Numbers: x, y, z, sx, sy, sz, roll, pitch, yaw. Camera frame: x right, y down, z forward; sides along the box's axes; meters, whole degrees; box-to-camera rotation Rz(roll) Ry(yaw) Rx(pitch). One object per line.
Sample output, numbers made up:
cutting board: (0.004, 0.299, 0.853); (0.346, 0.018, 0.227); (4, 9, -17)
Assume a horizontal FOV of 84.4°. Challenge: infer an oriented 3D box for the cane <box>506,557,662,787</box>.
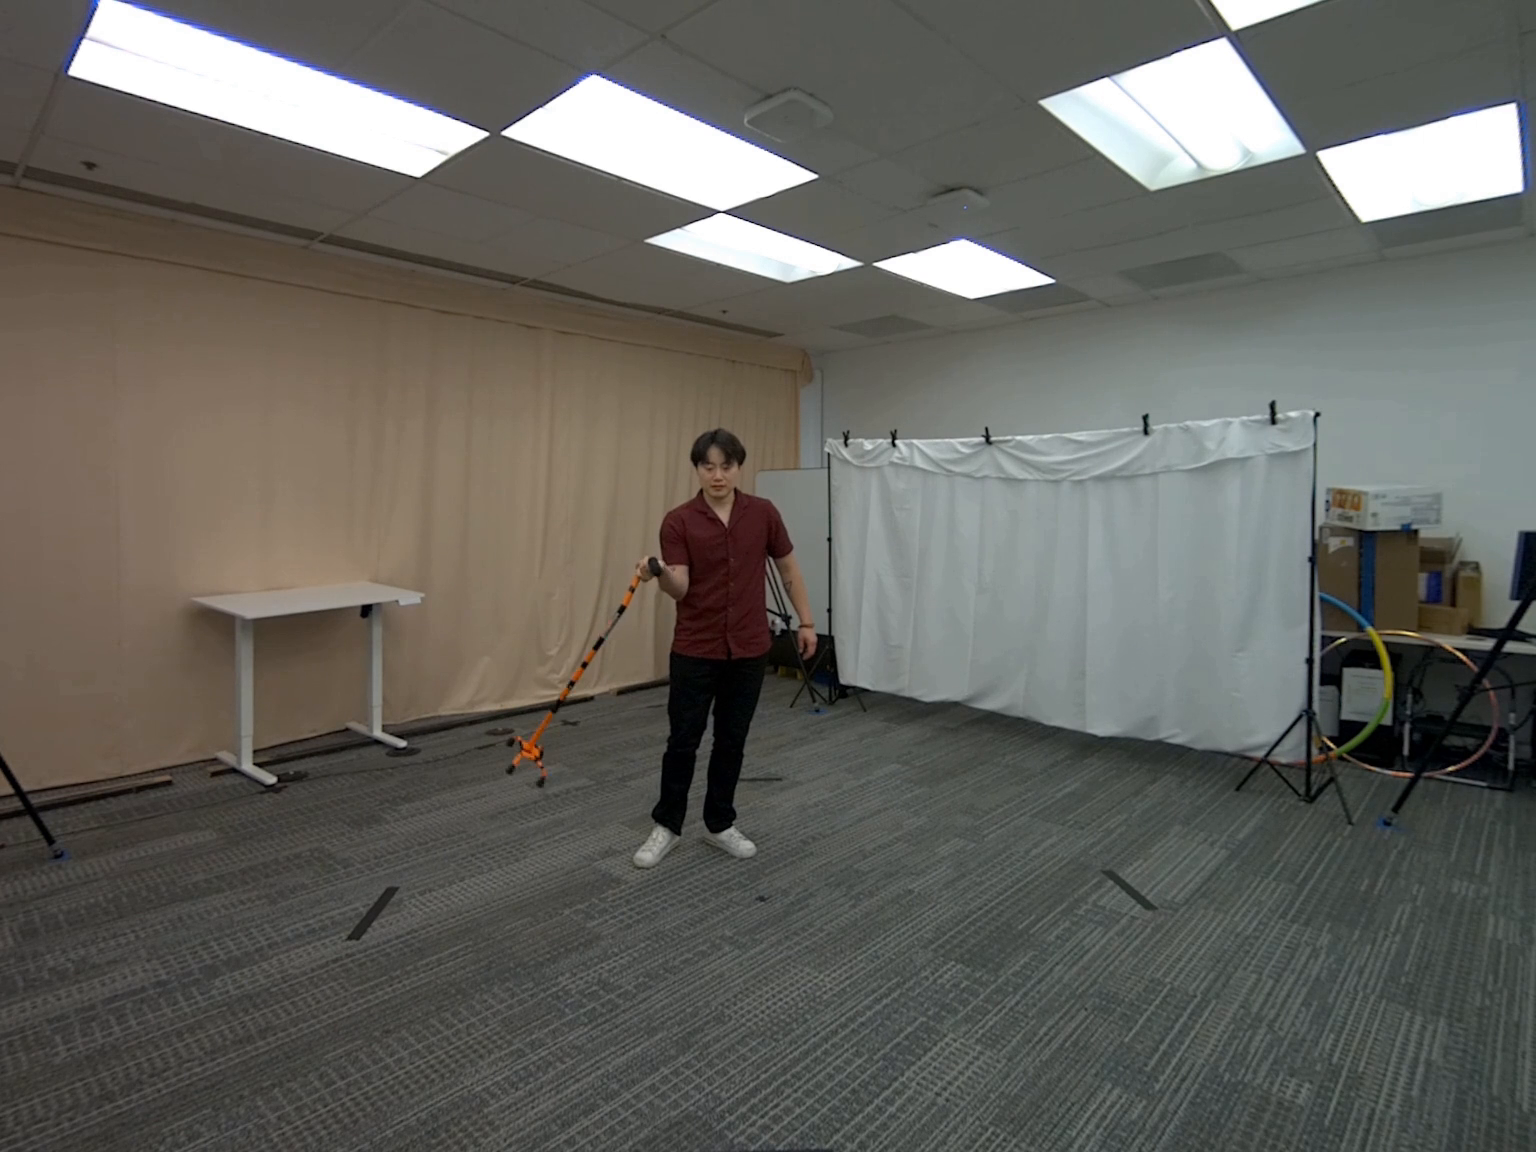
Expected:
cane: (-0.639, 0.322, 2.983); (0.149, 0.908, 0.210); (31, 11, -16)
